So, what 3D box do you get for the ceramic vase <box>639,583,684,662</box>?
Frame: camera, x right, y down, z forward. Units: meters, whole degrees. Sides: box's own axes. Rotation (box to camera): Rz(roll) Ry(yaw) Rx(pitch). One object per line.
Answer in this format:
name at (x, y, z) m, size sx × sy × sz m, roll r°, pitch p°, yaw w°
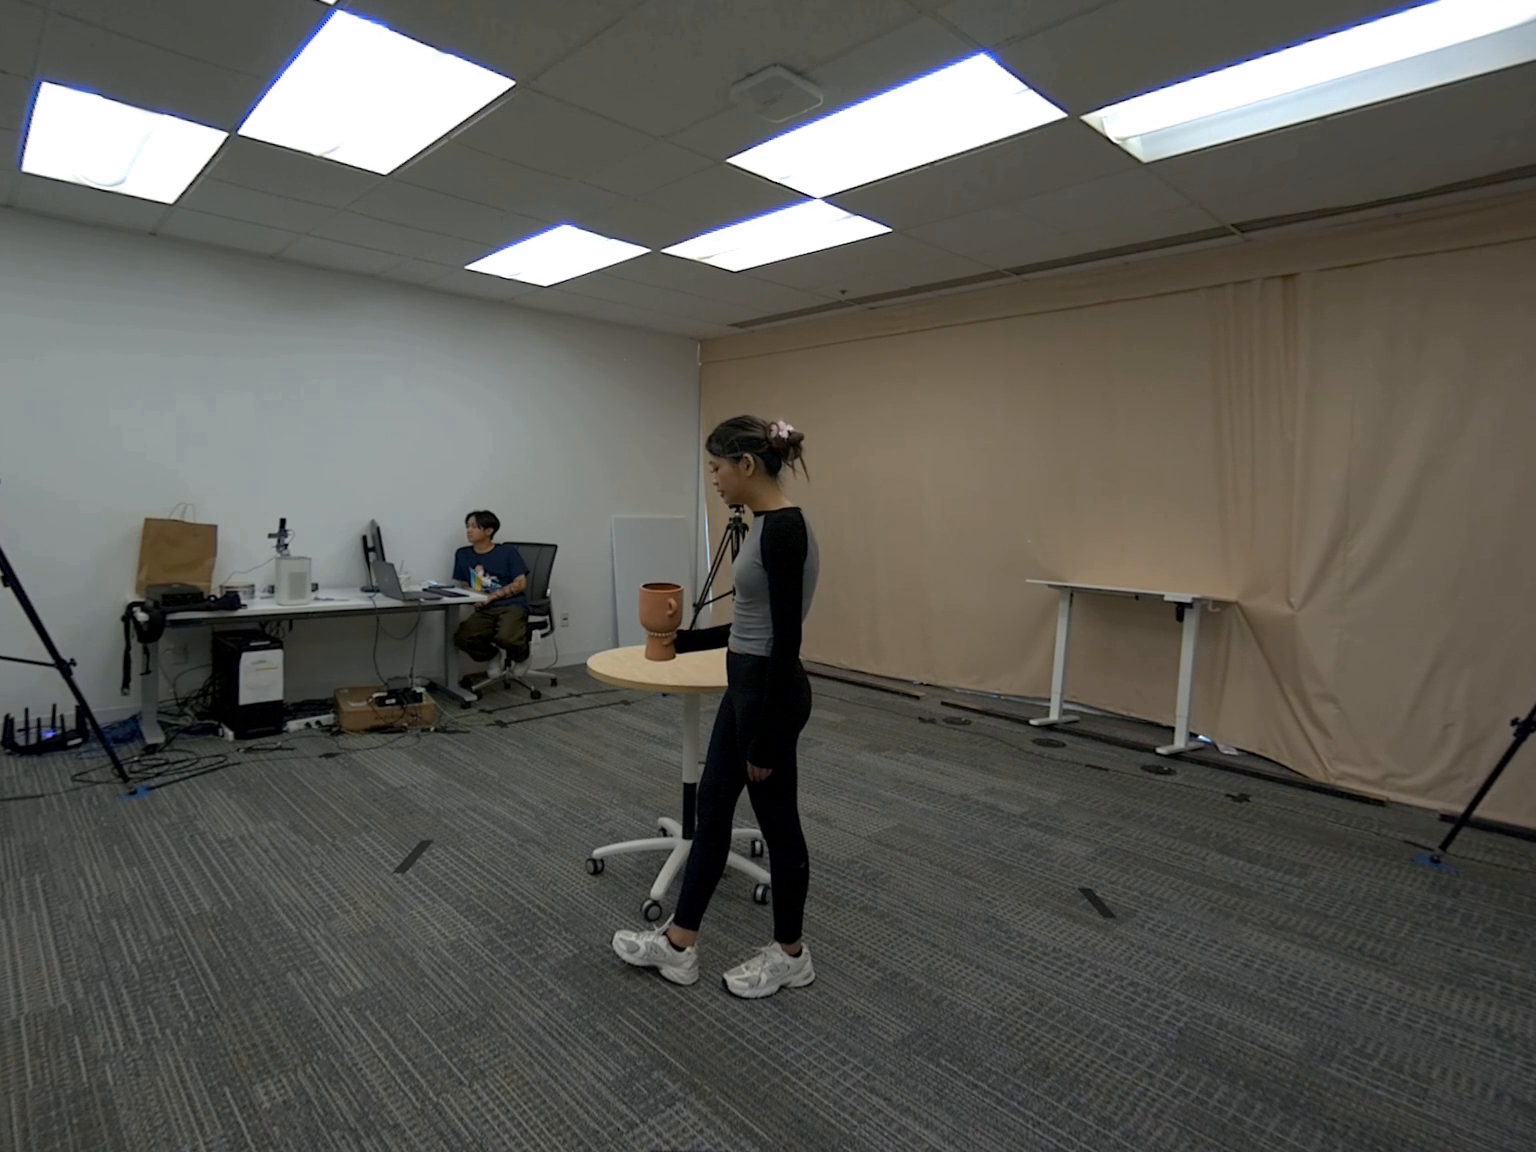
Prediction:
ceramic vase at (-0.325, 0.142, 2.543) m, size 0.135 × 0.218 × 0.159 m, roll 4°, pitch 11°, yaw 7°
